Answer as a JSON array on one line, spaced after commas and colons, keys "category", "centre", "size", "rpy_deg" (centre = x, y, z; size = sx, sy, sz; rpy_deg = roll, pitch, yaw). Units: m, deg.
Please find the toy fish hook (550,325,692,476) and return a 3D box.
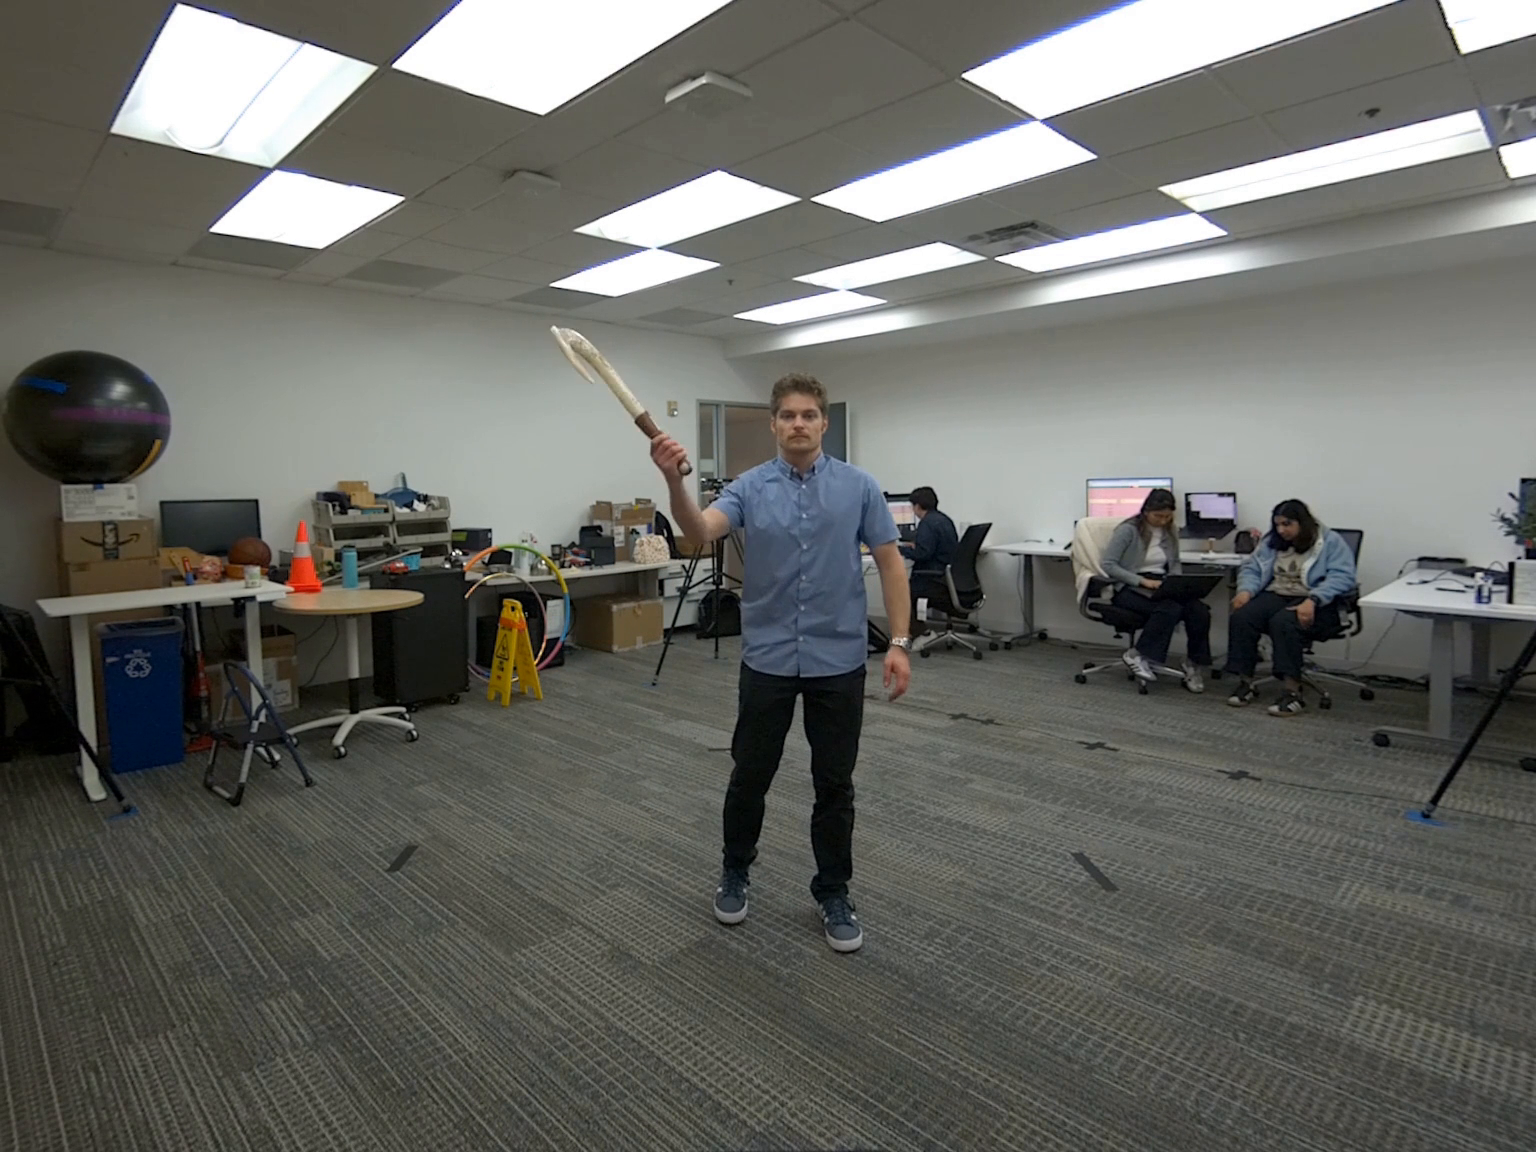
[{"category": "toy fish hook", "centre": [-0.381, -0.432, 2.212], "size": [0.048, 0.509, 0.223], "rpy_deg": [-42, -3, 21]}]
